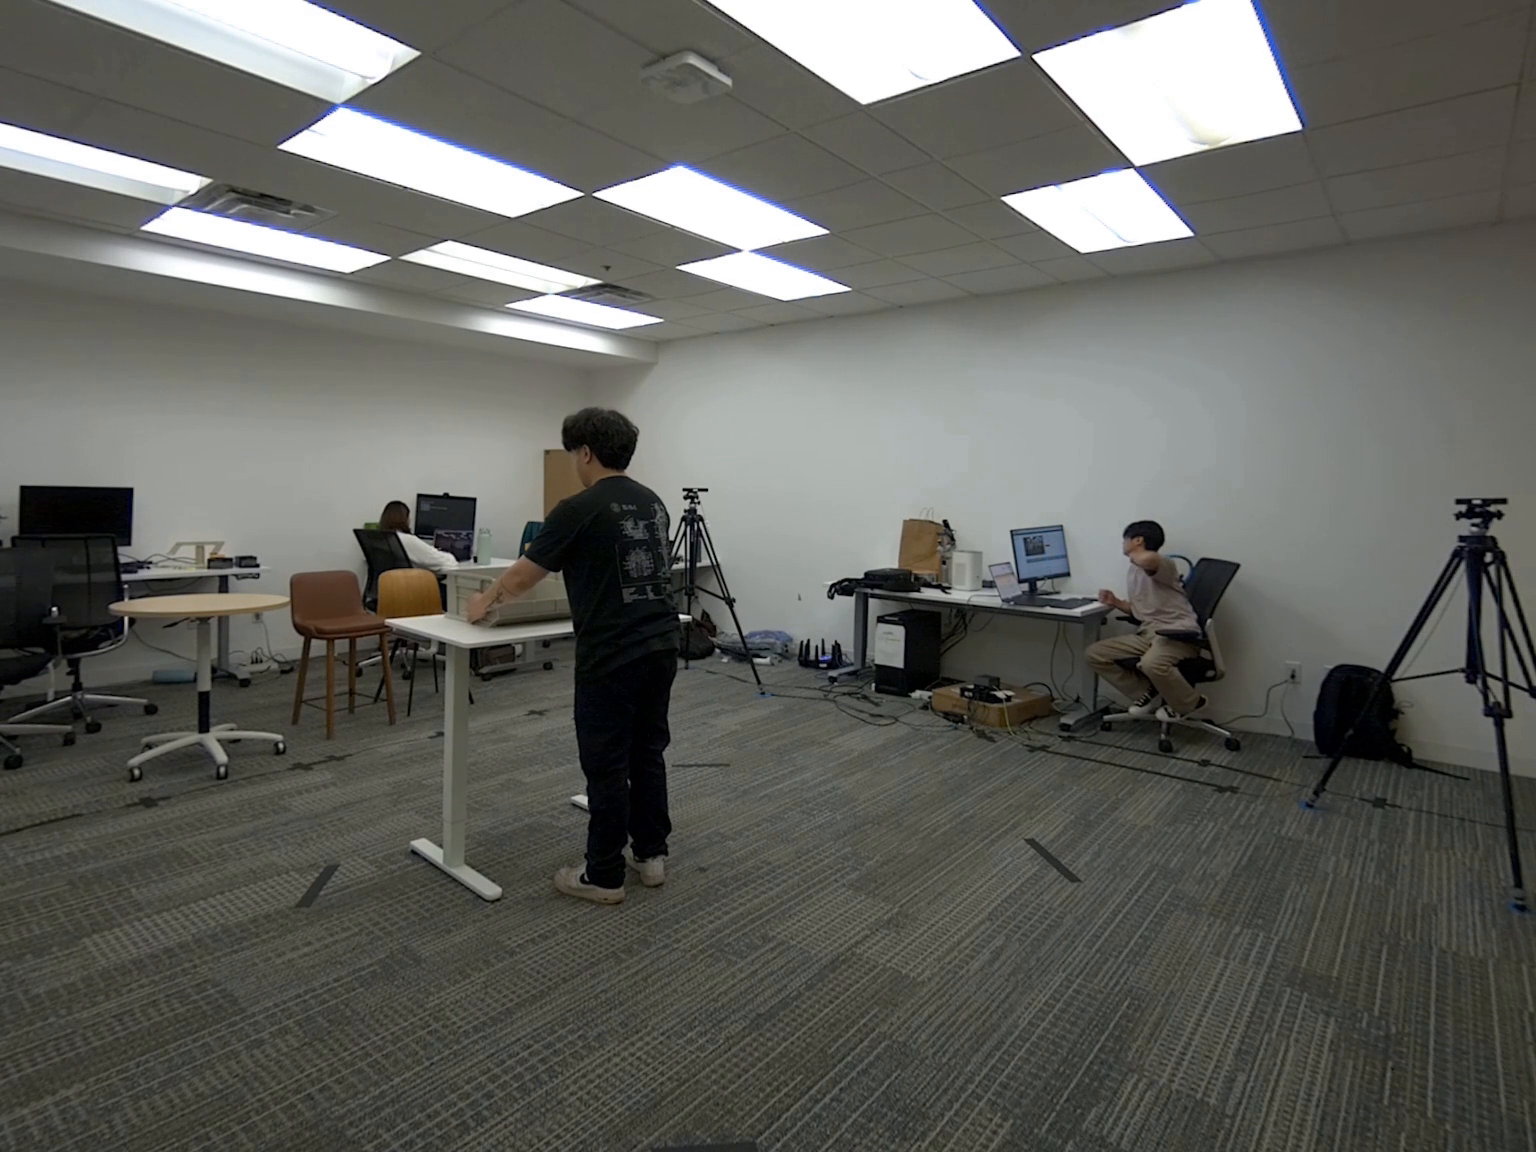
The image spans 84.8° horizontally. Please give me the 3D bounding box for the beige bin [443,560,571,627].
[{"bbox_3d":[-0.982,0.075,3.264,0.390,0.188,0.409,5,5,41],"label":"beige bin"}]
